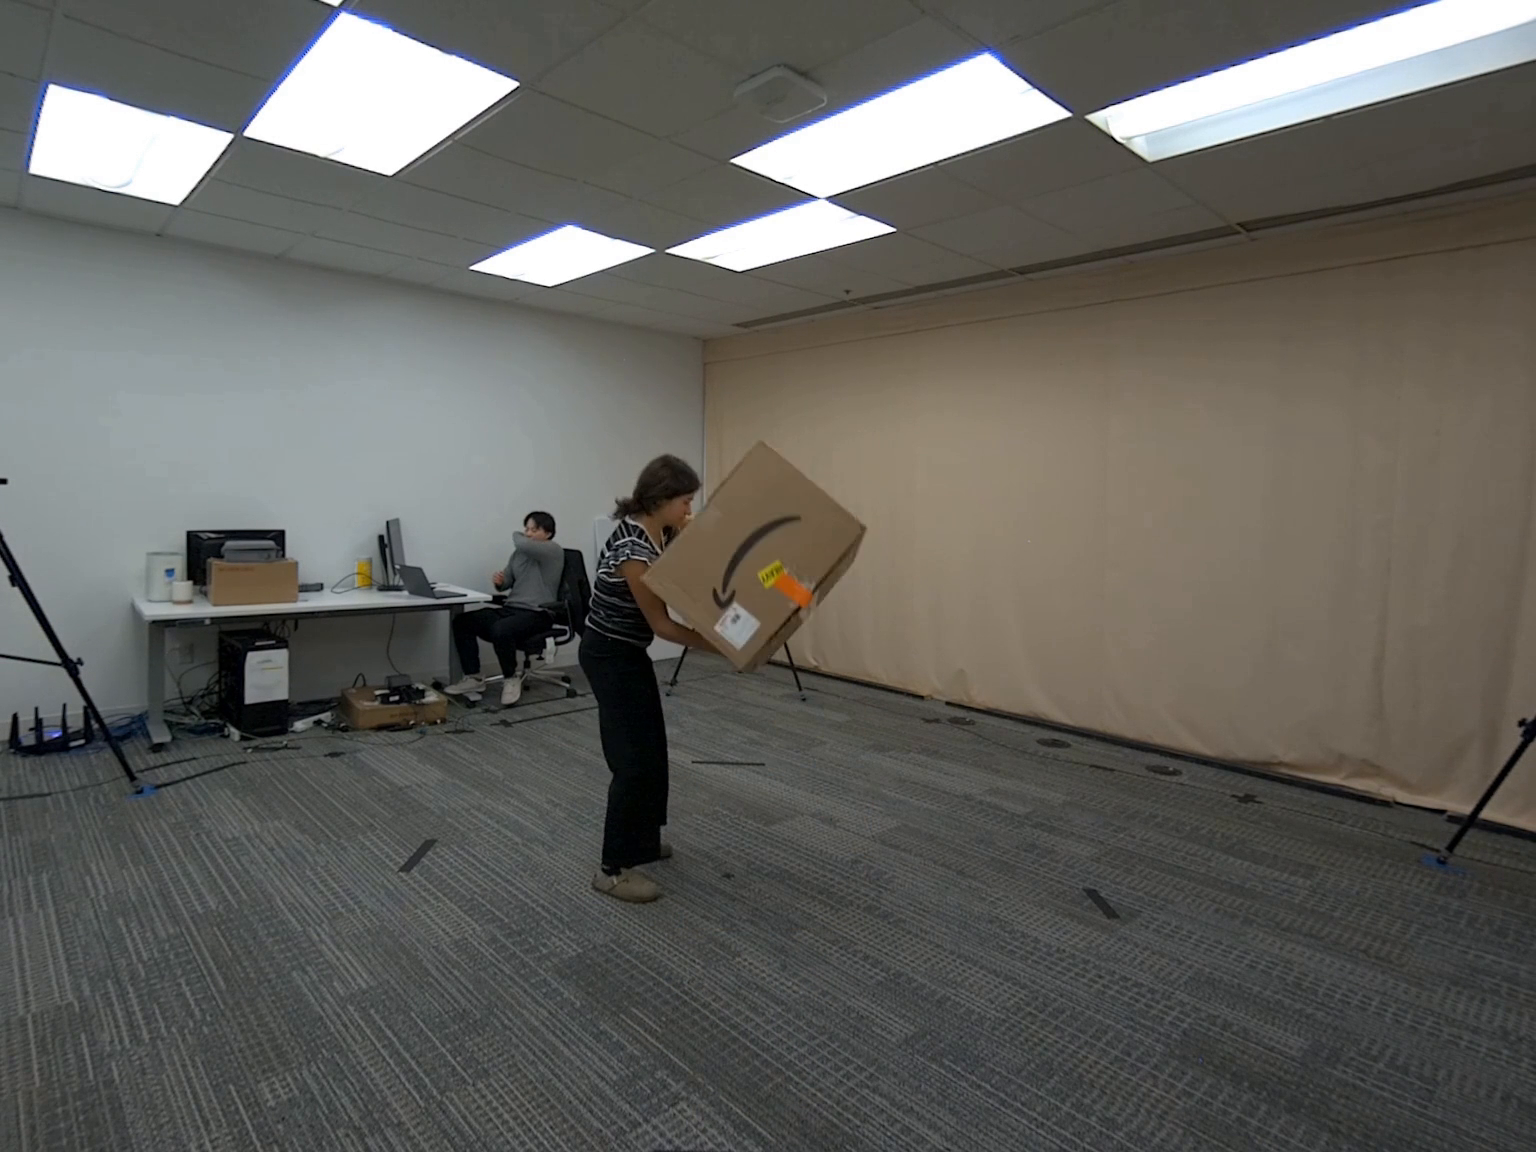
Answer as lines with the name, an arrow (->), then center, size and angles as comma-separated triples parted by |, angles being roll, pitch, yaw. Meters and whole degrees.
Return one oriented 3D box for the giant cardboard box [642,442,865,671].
giant cardboard box -> -0.029, -0.016, 3.030 | 0.430, 0.577, 1.017 | 41, -1, 6
